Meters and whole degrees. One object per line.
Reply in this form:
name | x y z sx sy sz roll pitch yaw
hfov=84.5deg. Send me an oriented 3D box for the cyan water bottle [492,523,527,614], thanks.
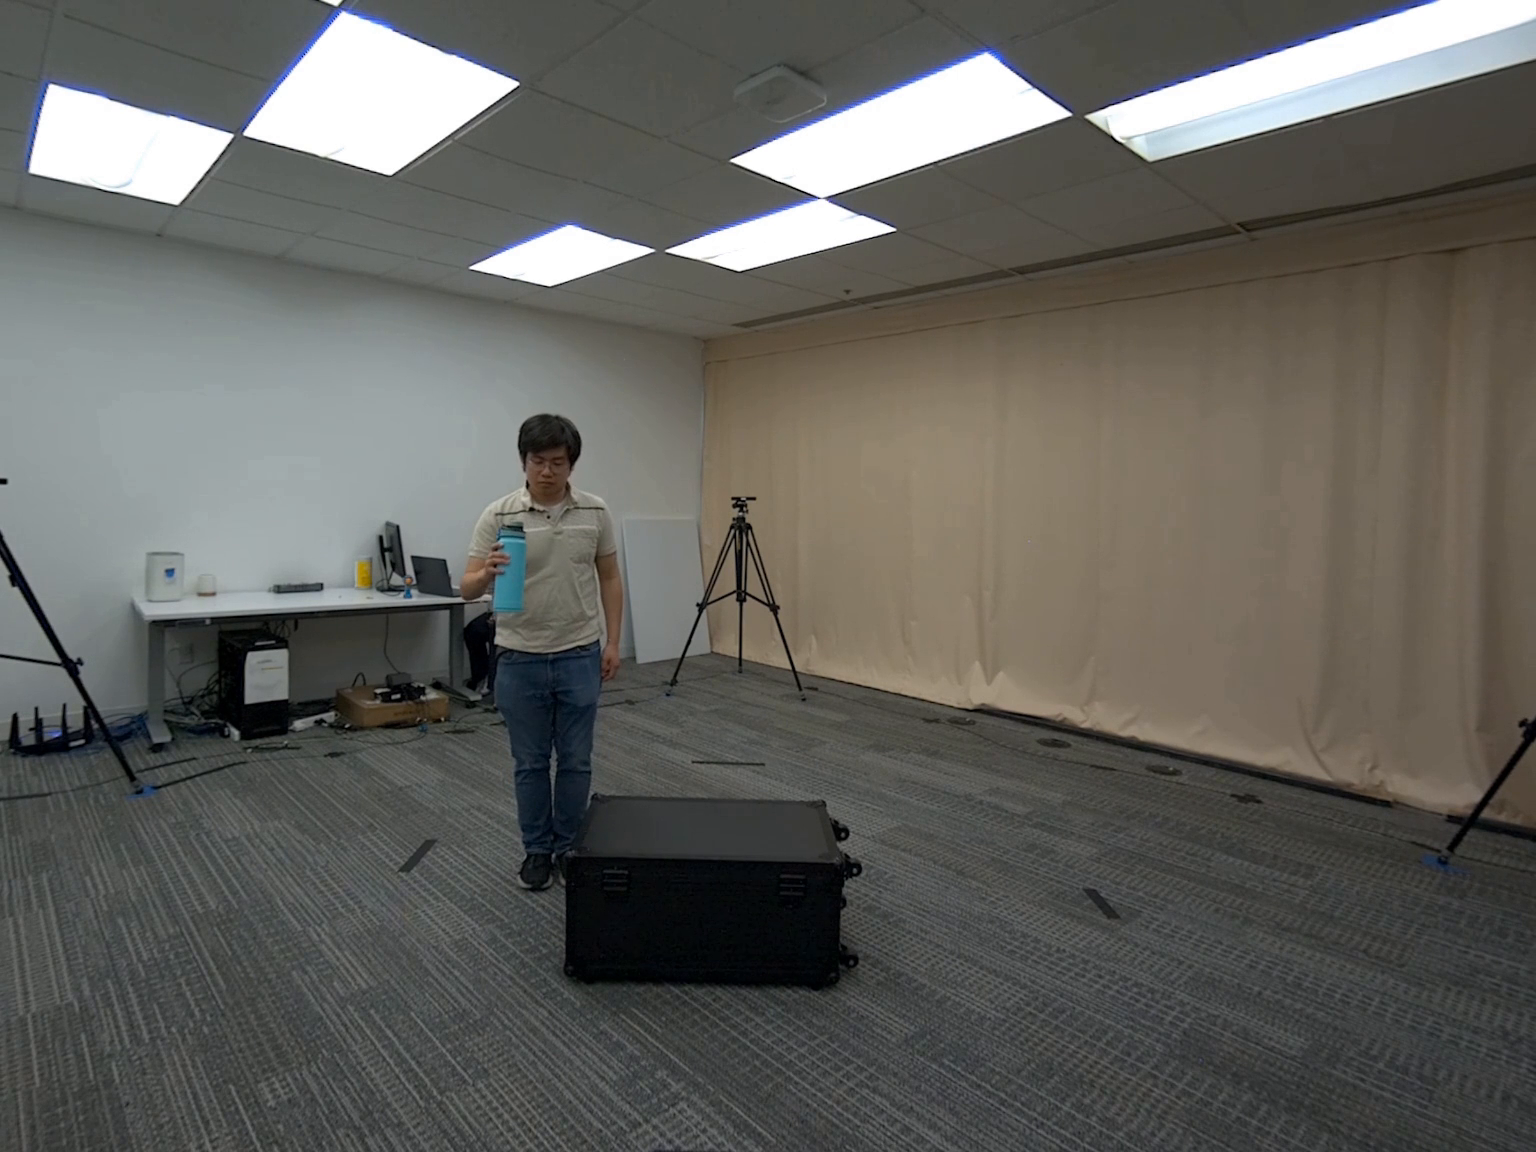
cyan water bottle | -0.827 -0.023 2.626 0.092 0.284 0.092 1 -6 -1
